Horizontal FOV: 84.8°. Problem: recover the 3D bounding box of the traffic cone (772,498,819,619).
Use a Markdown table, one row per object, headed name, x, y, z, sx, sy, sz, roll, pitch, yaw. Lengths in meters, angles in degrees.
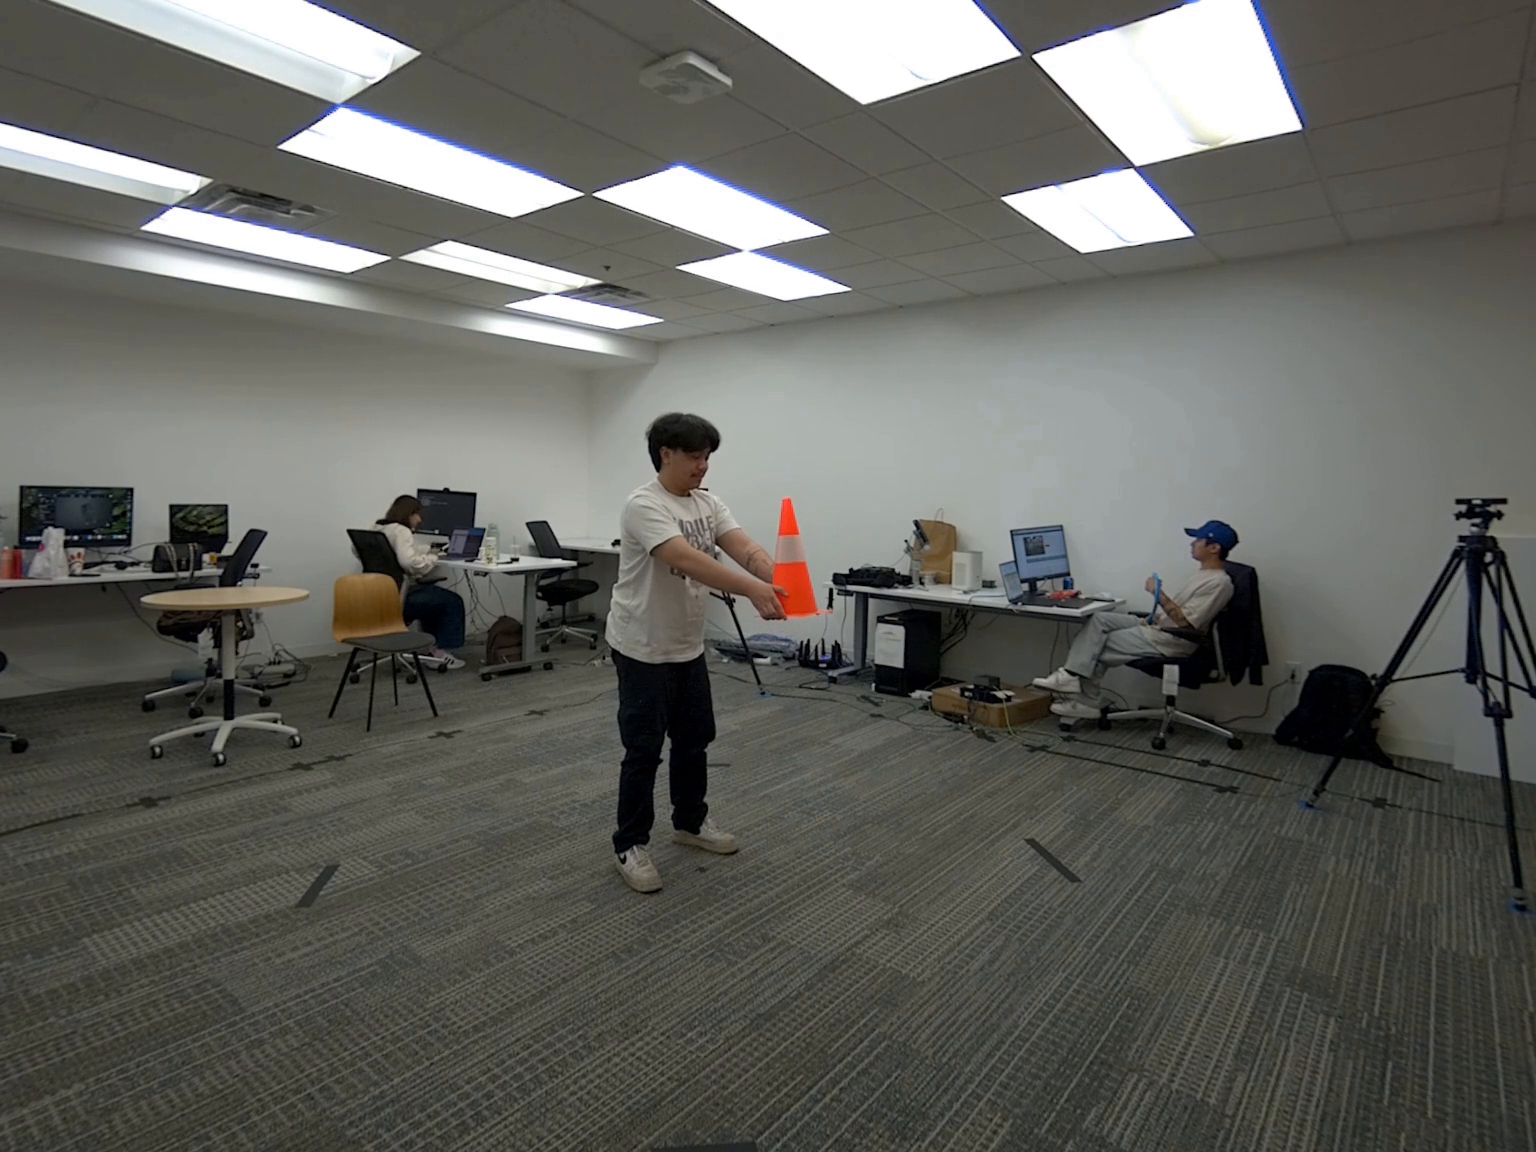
| name | x | y | z | sx | sy | sz | roll | pitch | yaw |
| --- | --- | --- | --- | --- | --- | --- | --- | --- | --- |
| traffic cone | 0.074 | -0.067 | 2.809 | 0.208 | 0.383 | 0.200 | -4 | 1 | 24 |
